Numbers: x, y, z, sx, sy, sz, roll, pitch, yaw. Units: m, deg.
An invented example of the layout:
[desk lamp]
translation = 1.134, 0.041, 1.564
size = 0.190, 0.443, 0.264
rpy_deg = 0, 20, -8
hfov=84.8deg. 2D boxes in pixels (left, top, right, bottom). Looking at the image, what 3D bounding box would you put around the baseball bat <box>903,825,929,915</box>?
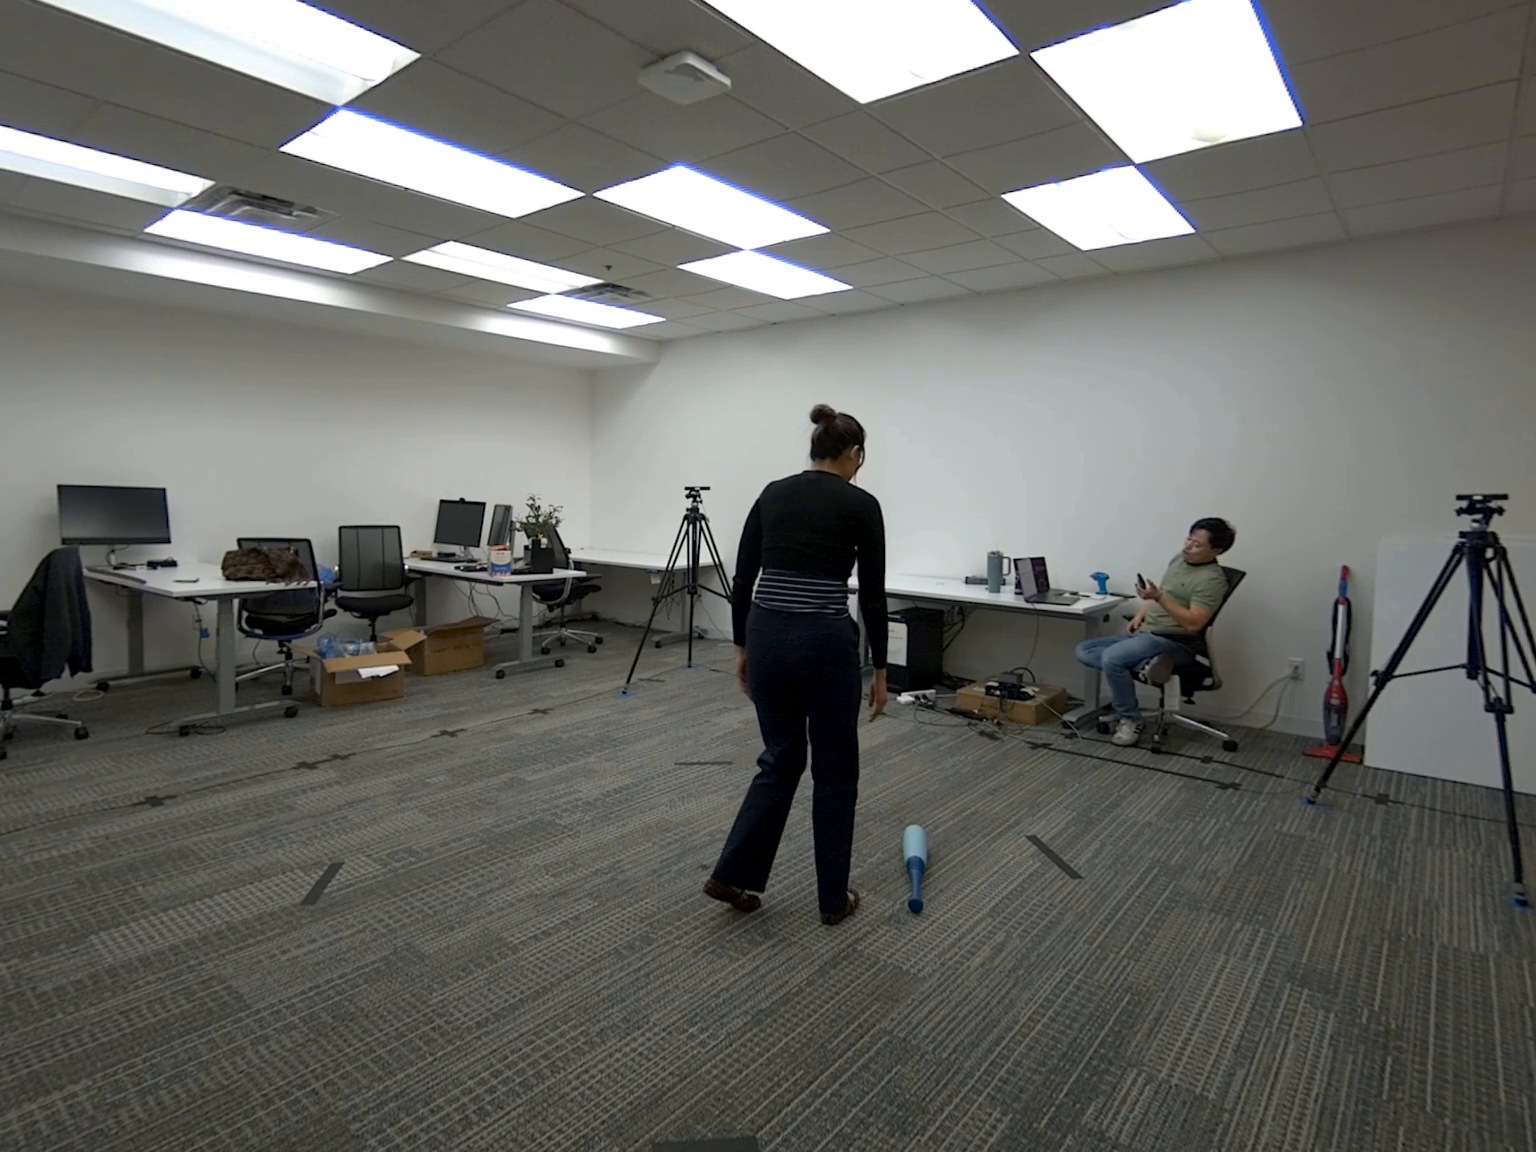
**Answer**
[baseball bat]
translation = 0.525, 1.049, 3.061
size = 0.090, 0.088, 0.541
rpy_deg = 1, 9, 8
